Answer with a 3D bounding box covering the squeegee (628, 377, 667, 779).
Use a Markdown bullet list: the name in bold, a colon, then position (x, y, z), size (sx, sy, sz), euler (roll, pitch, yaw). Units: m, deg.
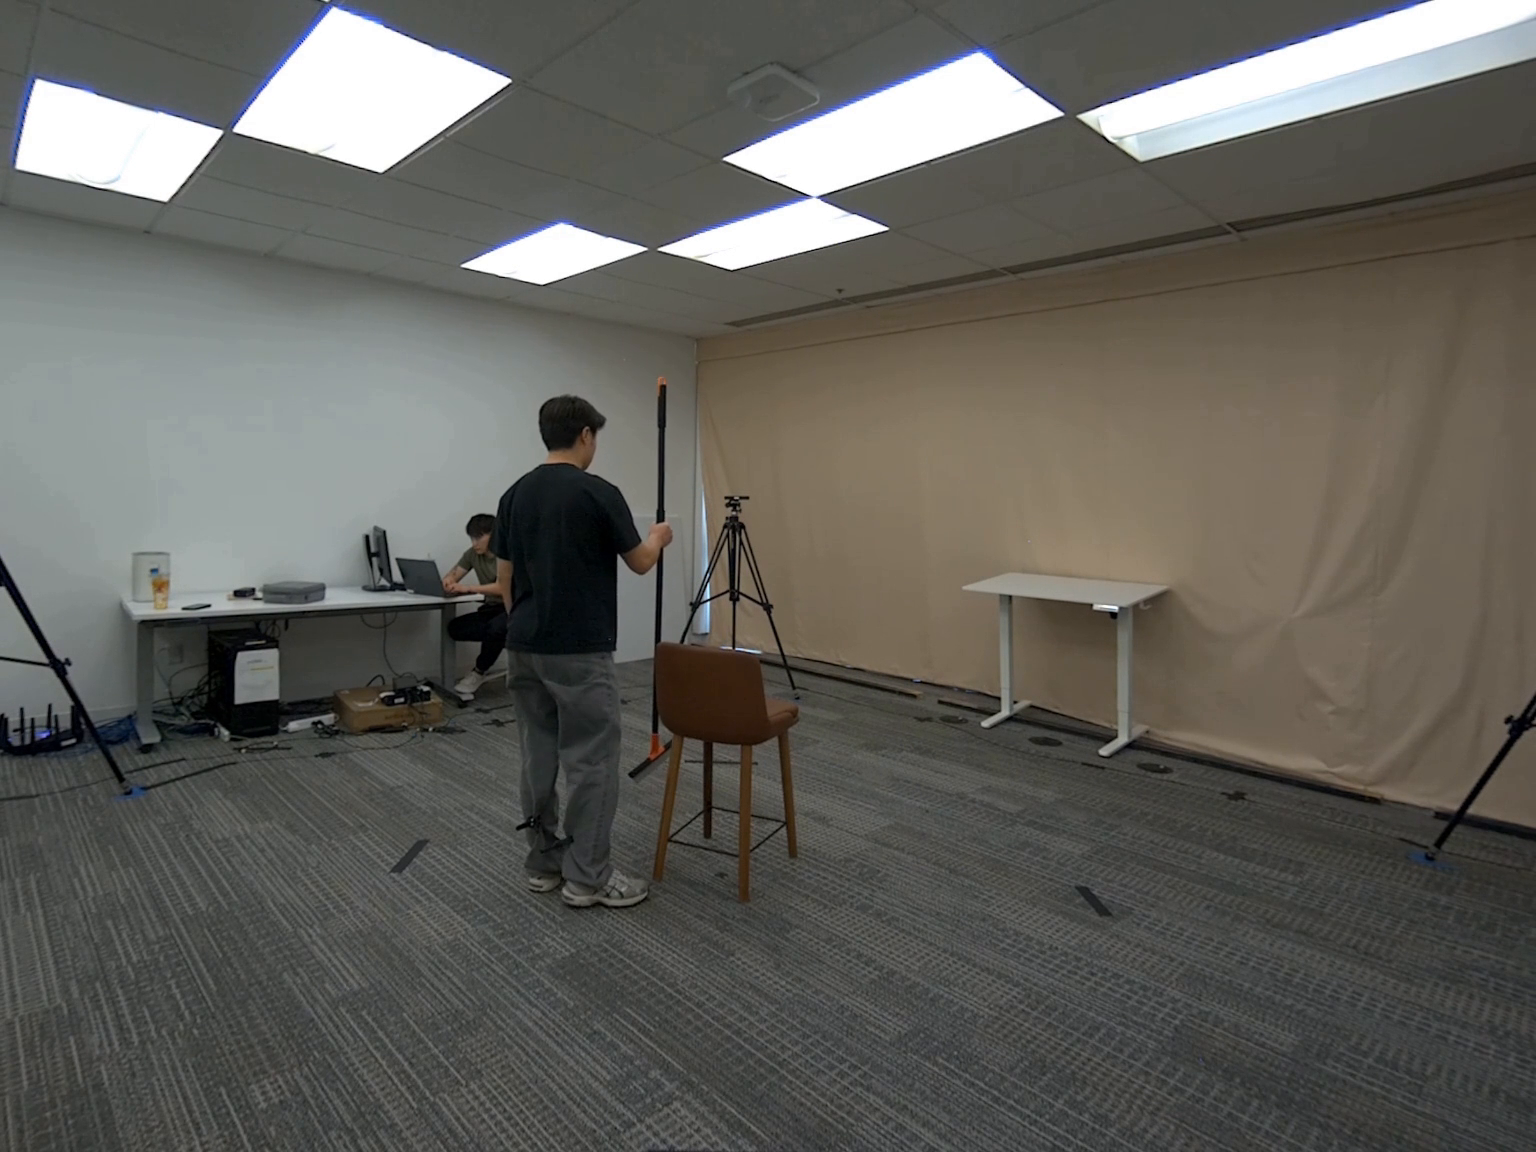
- **squeegee**: position (-0.436, 0.019, 3.333), size (0.053, 1.529, 0.435), euler (2, 8, 11)
